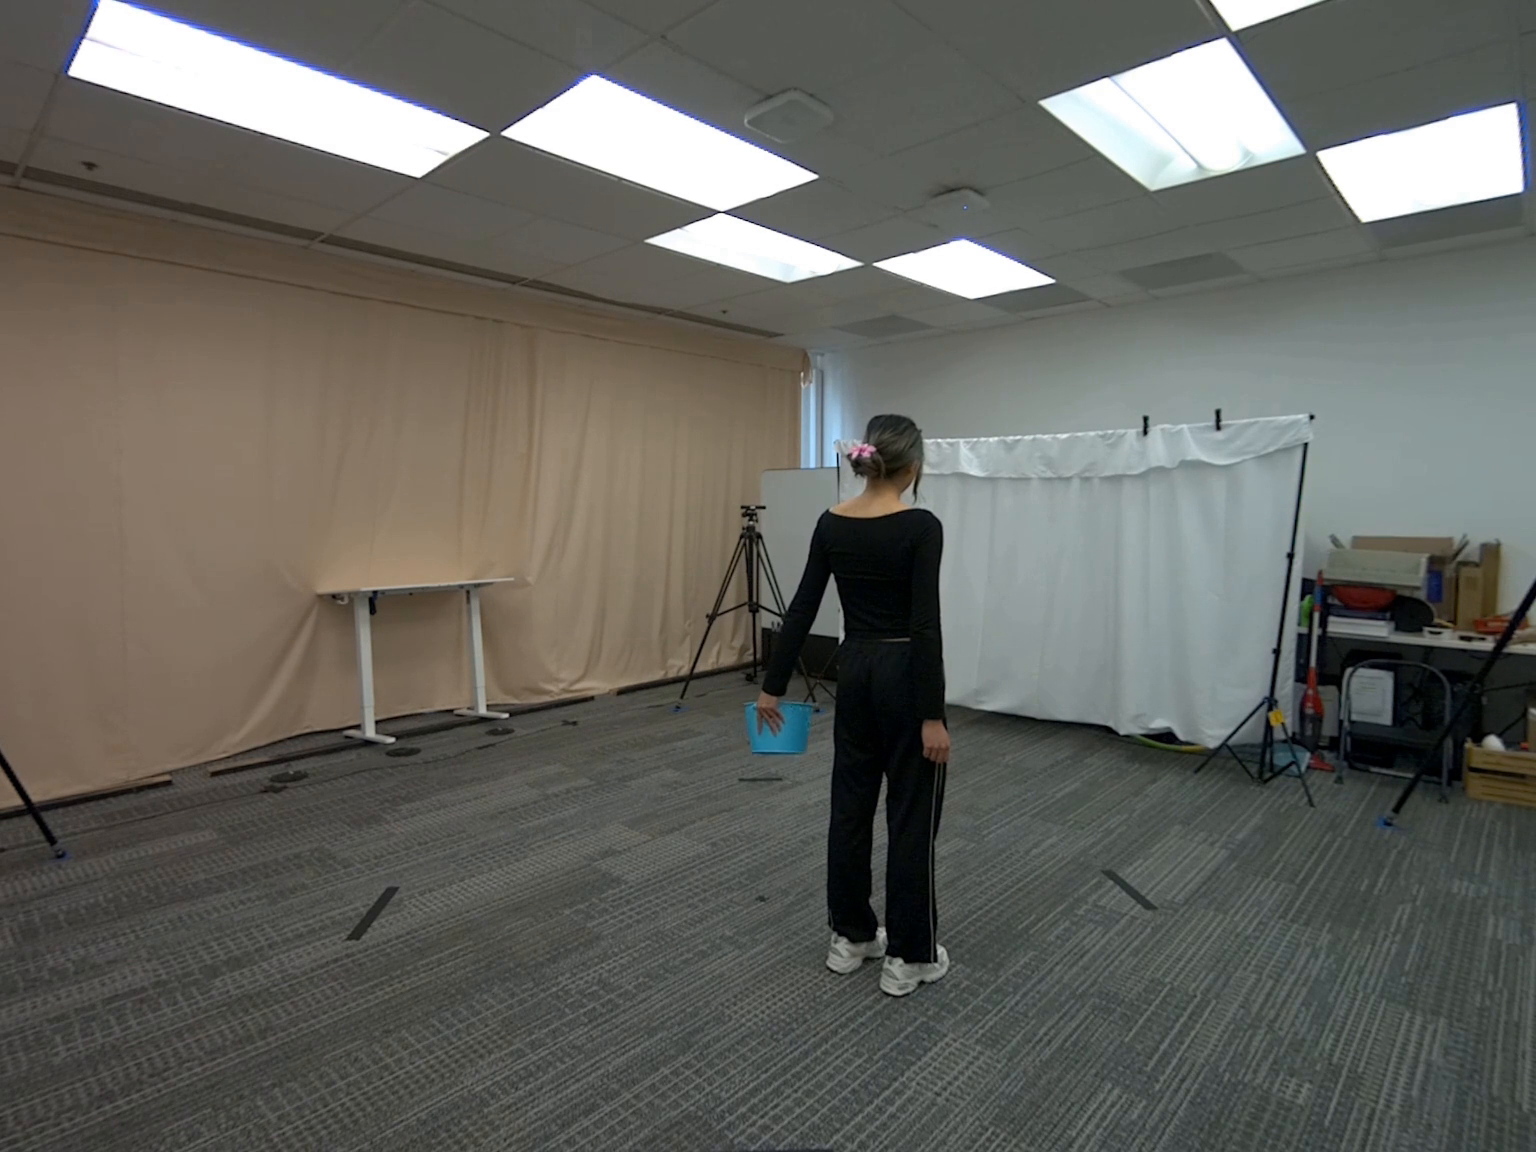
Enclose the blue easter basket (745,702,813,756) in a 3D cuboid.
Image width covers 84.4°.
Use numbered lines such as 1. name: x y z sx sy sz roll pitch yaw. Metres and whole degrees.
1. blue easter basket: 0.036 0.497 2.721 0.243 0.157 0.242 1 -14 -2
